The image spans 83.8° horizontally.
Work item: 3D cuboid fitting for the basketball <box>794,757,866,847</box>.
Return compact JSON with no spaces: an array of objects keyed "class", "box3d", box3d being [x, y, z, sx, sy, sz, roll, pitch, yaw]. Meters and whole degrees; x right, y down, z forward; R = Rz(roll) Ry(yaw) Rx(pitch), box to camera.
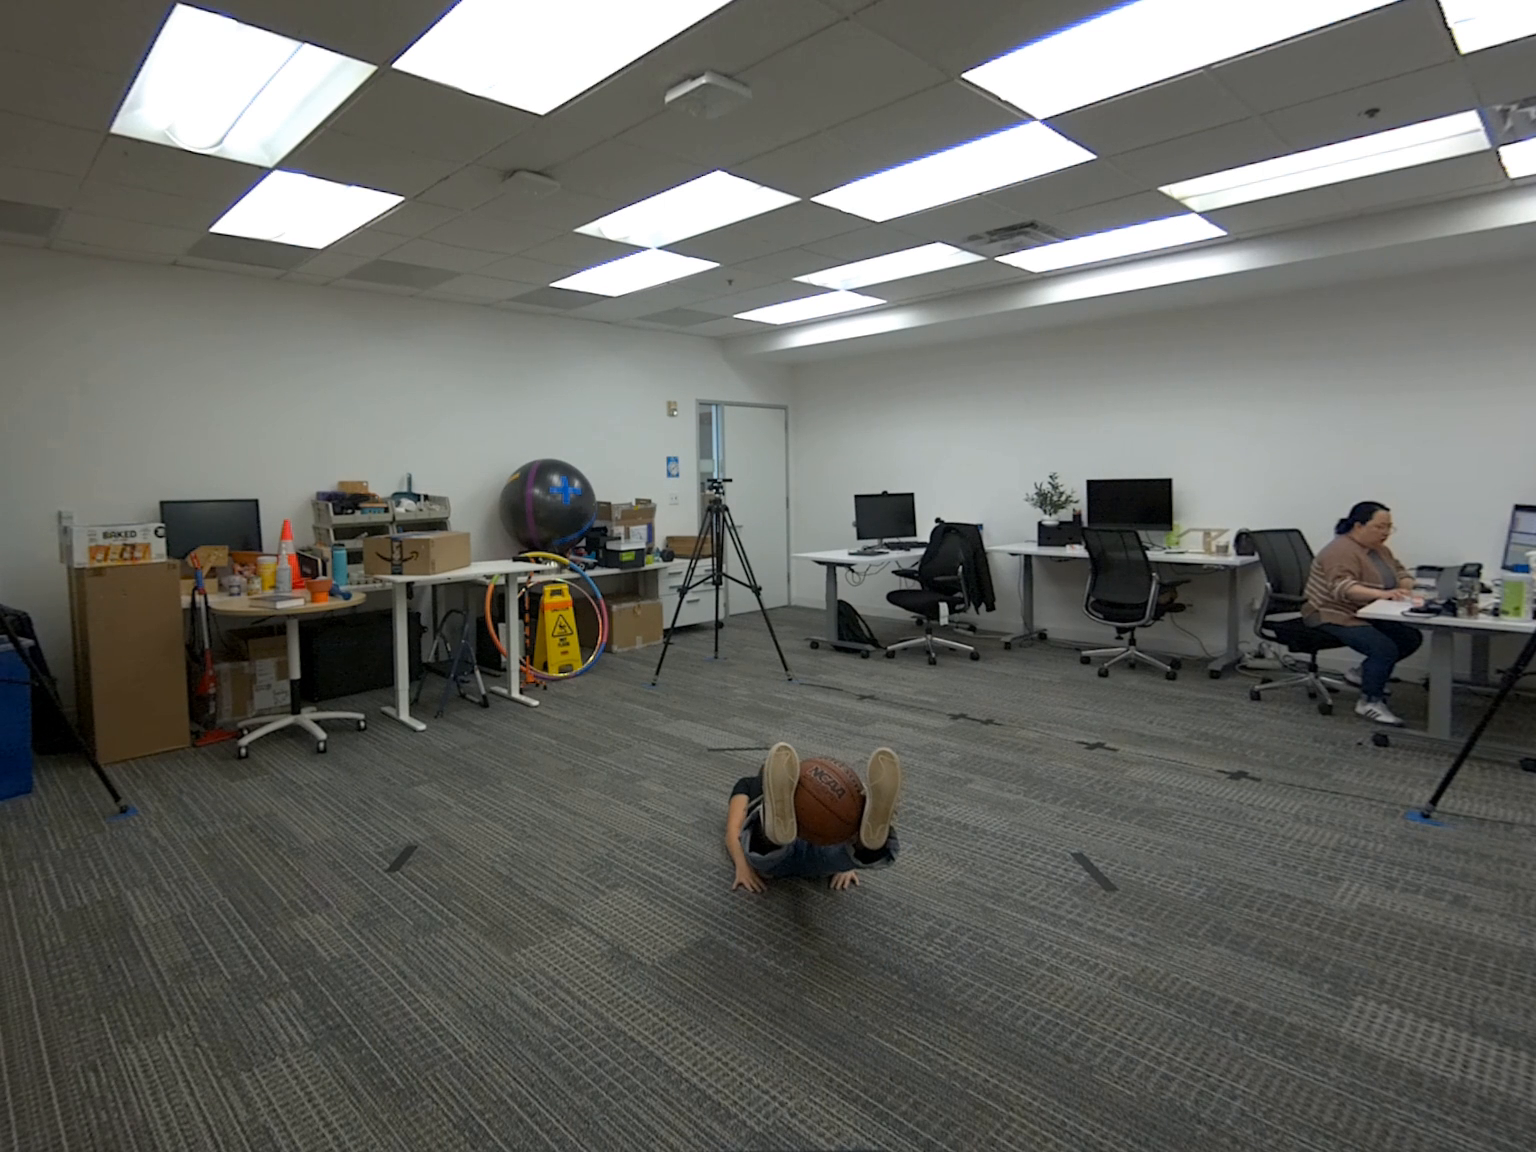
[{"class":"basketball","box3d":[0.162,0.636,2.401,0.236,0.235,0.237,-1,5,-2]}]
